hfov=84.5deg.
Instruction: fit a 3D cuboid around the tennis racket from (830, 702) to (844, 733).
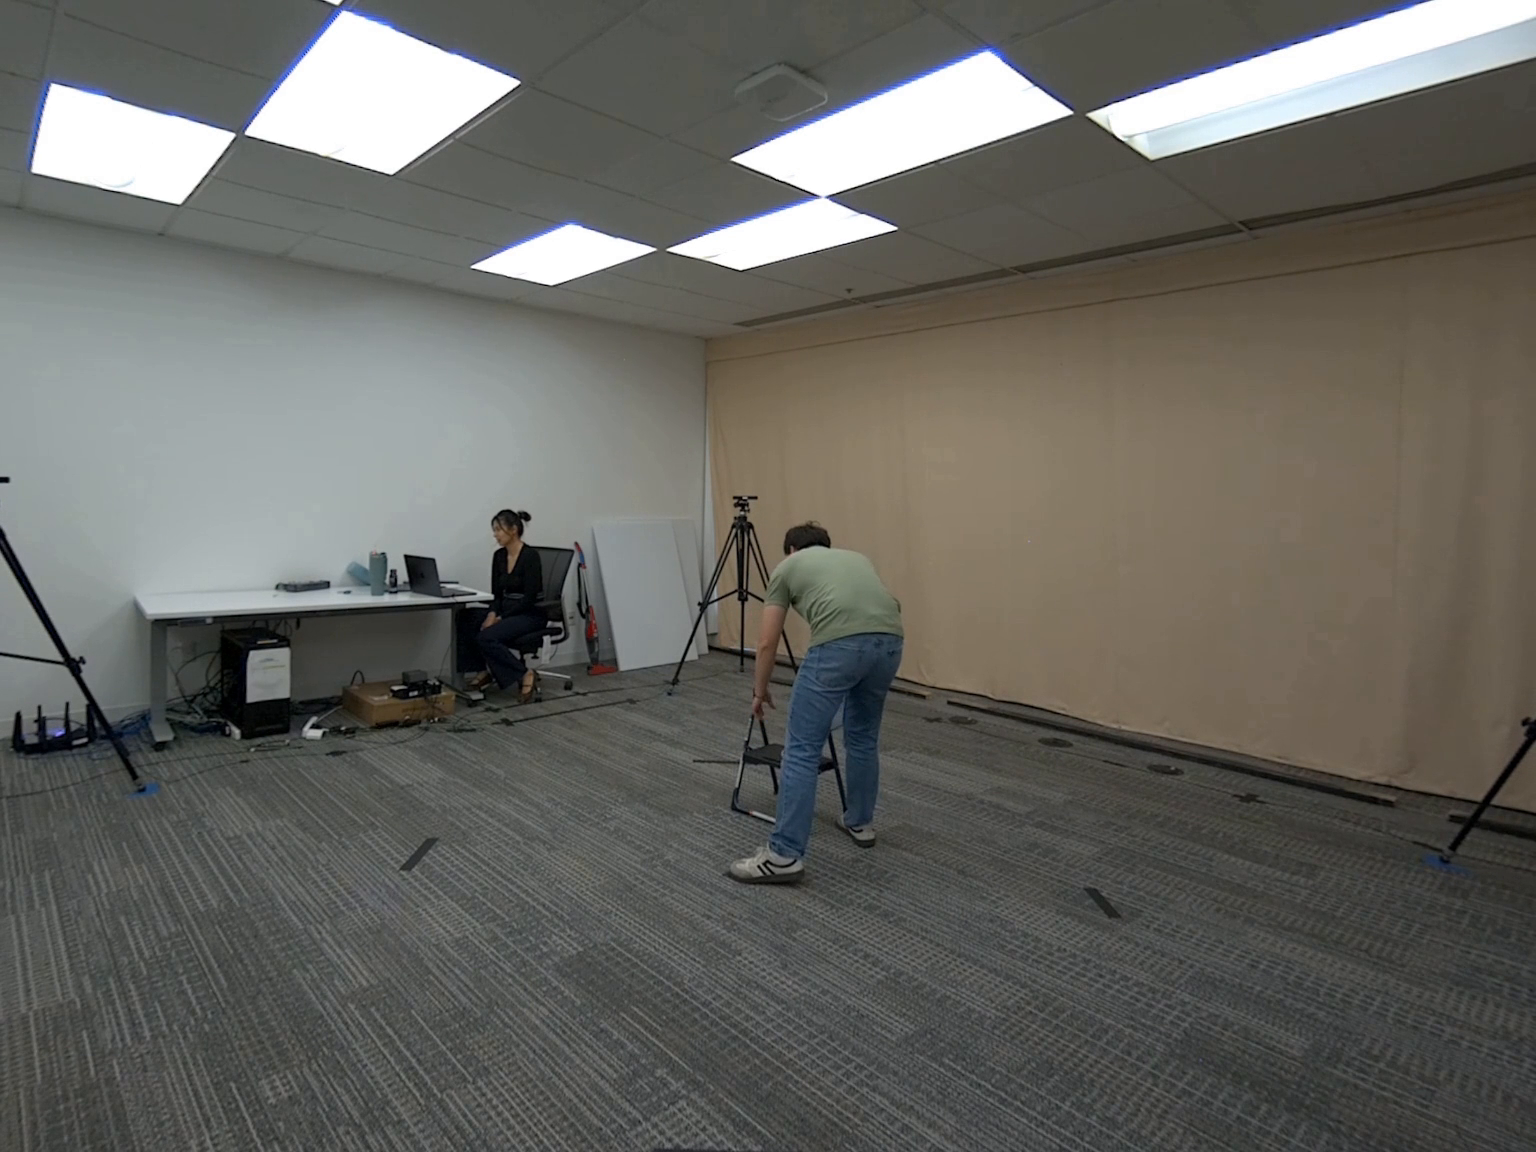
[{"bbox_3d":[0.294,0.620,3.693,0.431,0.031,0.219,-11,31,-8],"label":"tennis racket"}]
